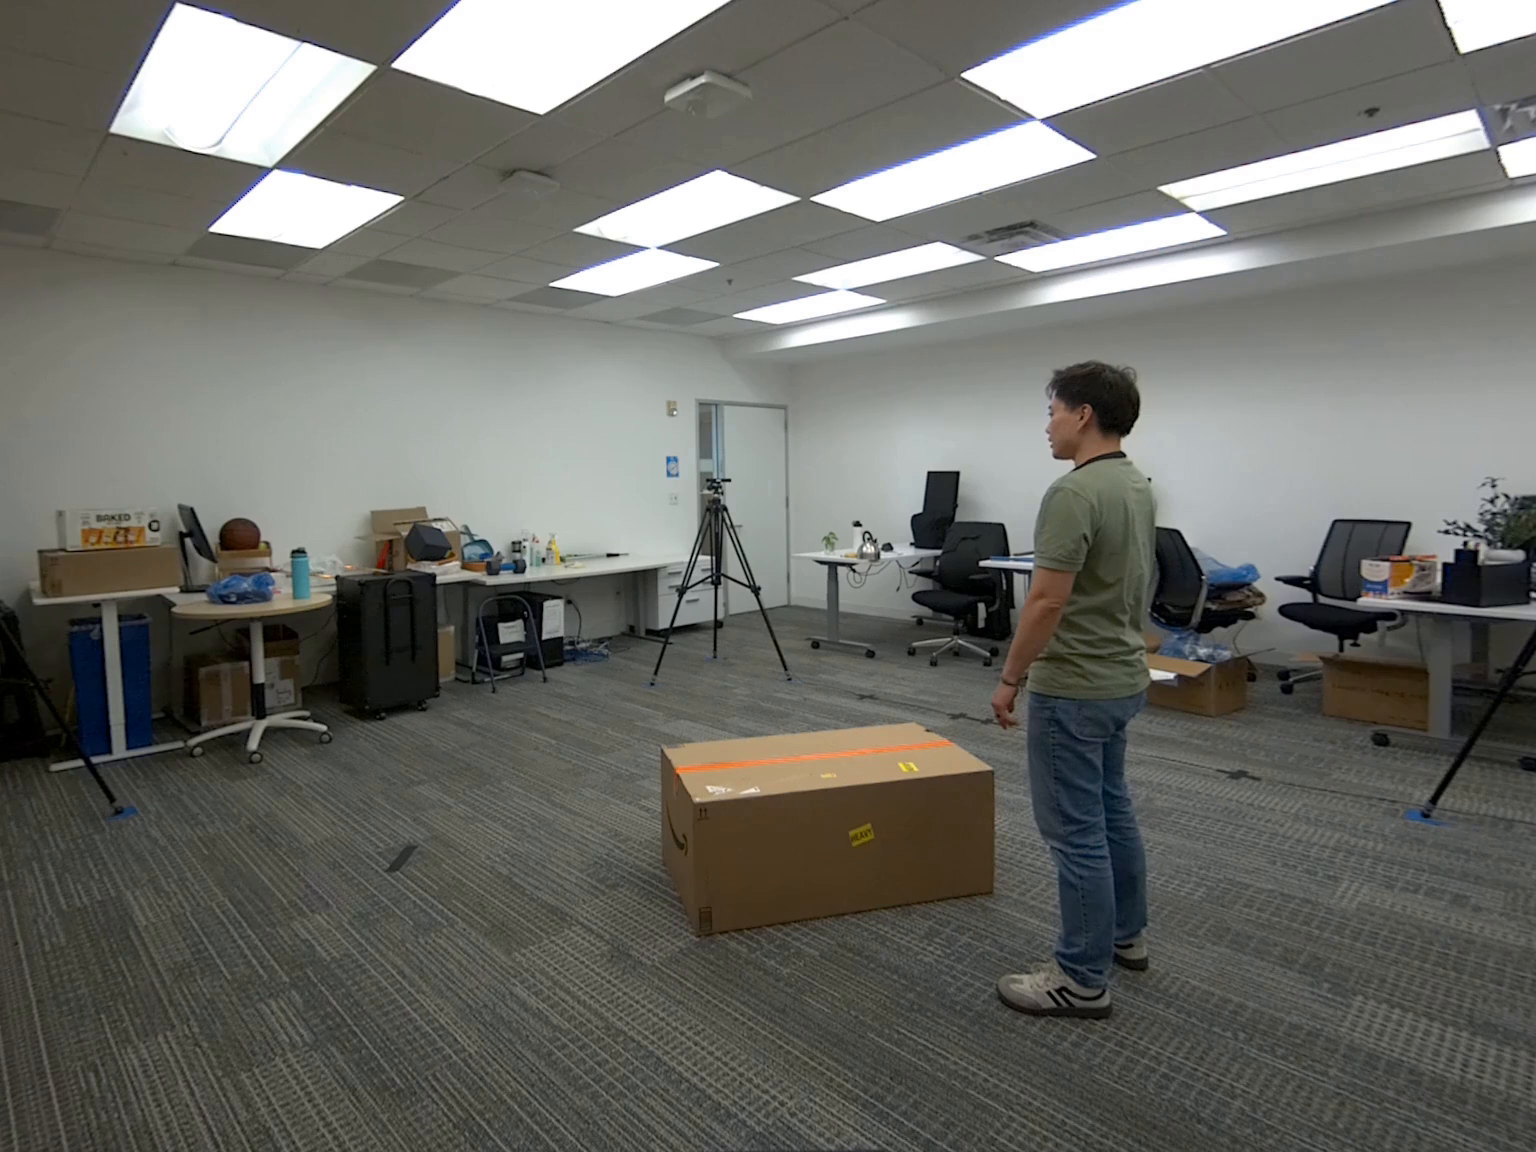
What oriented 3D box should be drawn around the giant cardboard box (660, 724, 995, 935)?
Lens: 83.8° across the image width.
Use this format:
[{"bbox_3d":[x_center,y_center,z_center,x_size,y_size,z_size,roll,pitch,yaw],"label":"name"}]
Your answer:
[{"bbox_3d":[0.180,0.834,2.995,1.012,0.424,0.588,-2,7,-15],"label":"giant cardboard box"}]
